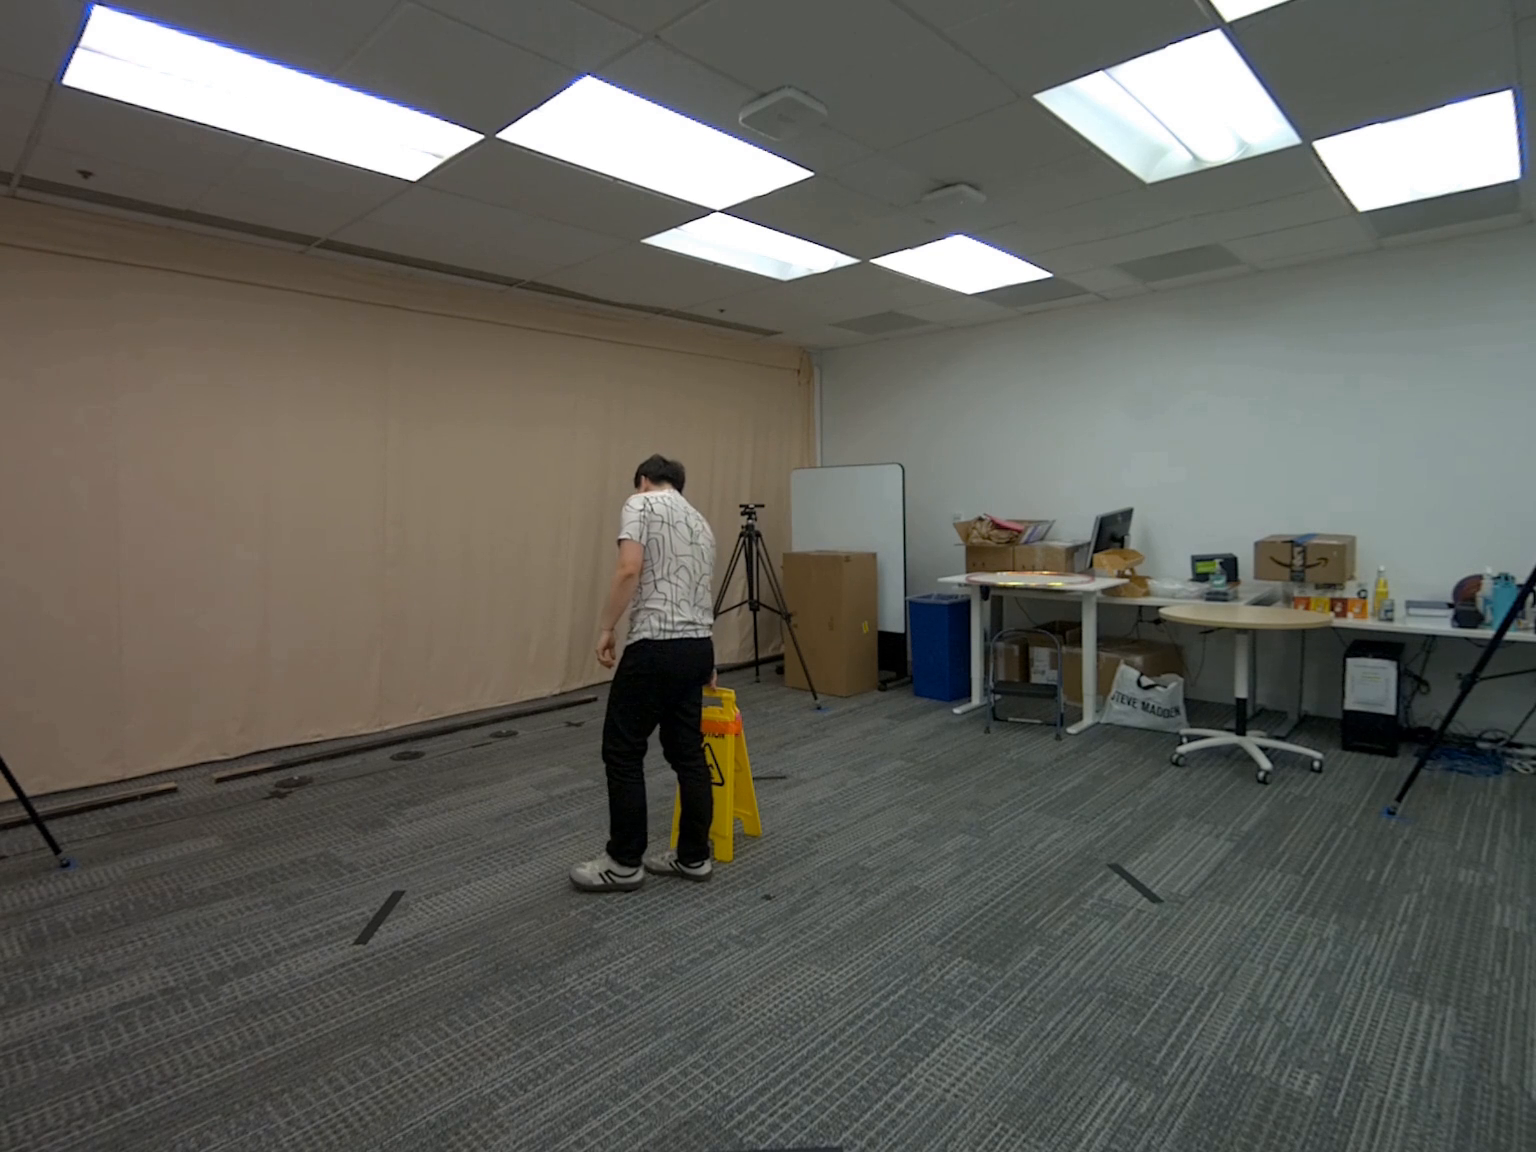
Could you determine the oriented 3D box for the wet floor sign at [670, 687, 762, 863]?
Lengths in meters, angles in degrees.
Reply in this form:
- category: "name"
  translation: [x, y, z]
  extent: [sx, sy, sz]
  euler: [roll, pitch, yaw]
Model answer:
- category: "wet floor sign"
  translation: [-0.218, 0.779, 3.455]
  extent: [0.289, 0.644, 0.283]
  euler: [-1, 4, 26]
